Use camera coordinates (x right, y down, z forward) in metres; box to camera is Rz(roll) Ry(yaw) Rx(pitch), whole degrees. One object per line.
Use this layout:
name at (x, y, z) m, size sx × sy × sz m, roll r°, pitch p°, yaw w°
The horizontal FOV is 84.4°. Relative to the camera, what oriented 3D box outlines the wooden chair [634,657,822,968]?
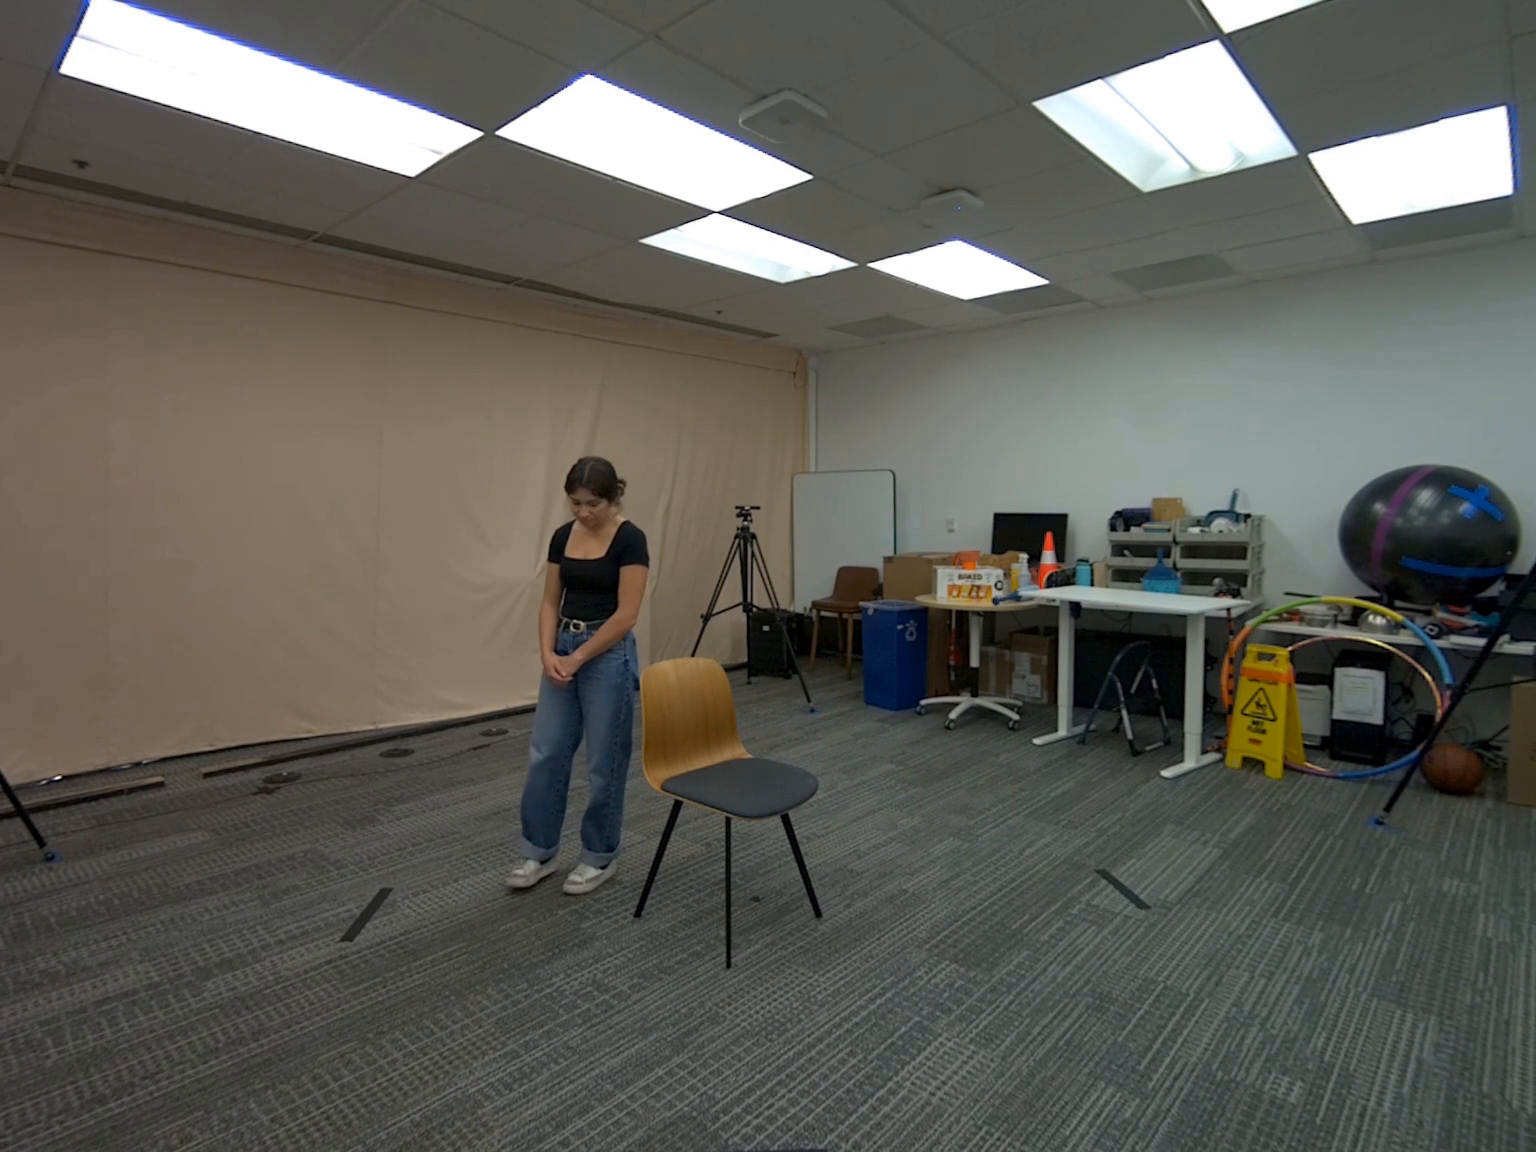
wooden chair at (-0.130, 0.733, 2.812) m, size 0.539 × 0.877 × 0.463 m, roll -3°, pitch 0°, yaw 44°
